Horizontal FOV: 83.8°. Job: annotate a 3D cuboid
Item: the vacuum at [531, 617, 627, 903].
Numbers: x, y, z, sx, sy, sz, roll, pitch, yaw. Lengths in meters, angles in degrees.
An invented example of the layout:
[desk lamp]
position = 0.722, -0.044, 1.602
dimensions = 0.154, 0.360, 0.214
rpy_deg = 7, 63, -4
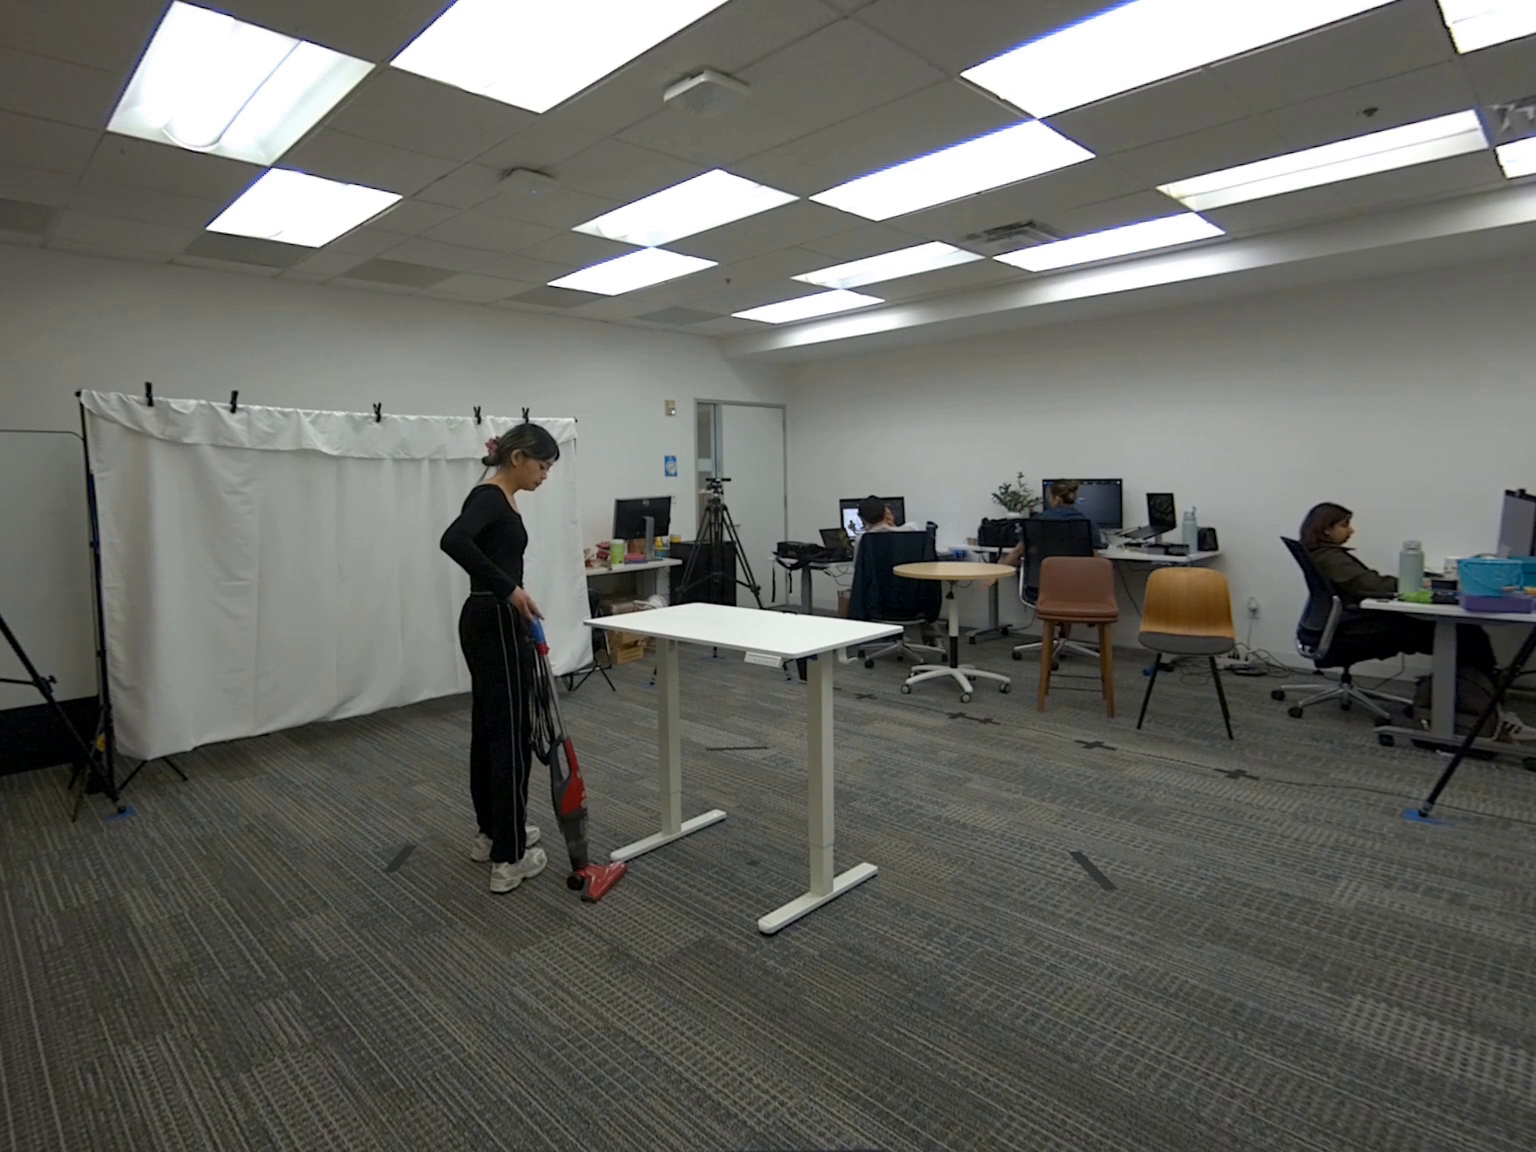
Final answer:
[vacuum]
position = -0.754, 0.561, 2.972
dimensions = 0.146, 1.049, 0.249
rpy_deg = -18, 0, 21
